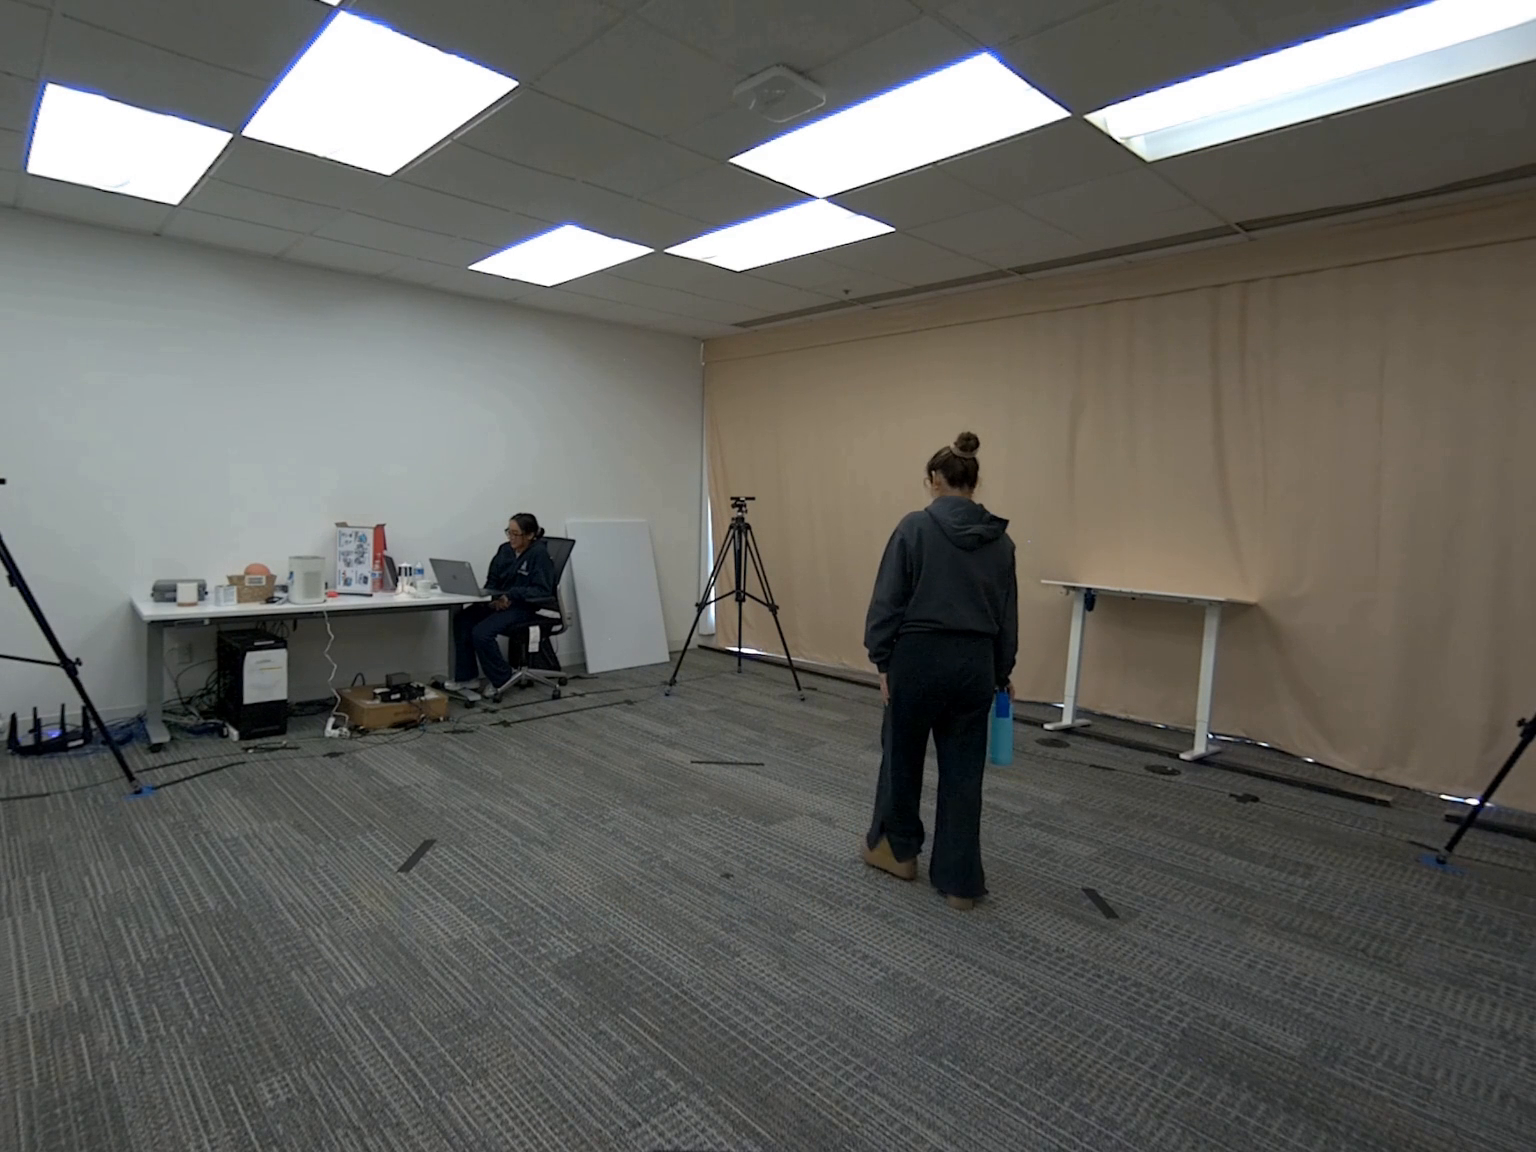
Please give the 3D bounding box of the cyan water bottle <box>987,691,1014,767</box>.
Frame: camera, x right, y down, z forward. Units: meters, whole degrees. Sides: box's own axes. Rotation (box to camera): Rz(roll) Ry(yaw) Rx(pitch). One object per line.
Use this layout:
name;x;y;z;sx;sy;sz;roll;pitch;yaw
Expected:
cyan water bottle;0.850;0.552;3.148;0.092;0.283;0.092;3;0;-1
